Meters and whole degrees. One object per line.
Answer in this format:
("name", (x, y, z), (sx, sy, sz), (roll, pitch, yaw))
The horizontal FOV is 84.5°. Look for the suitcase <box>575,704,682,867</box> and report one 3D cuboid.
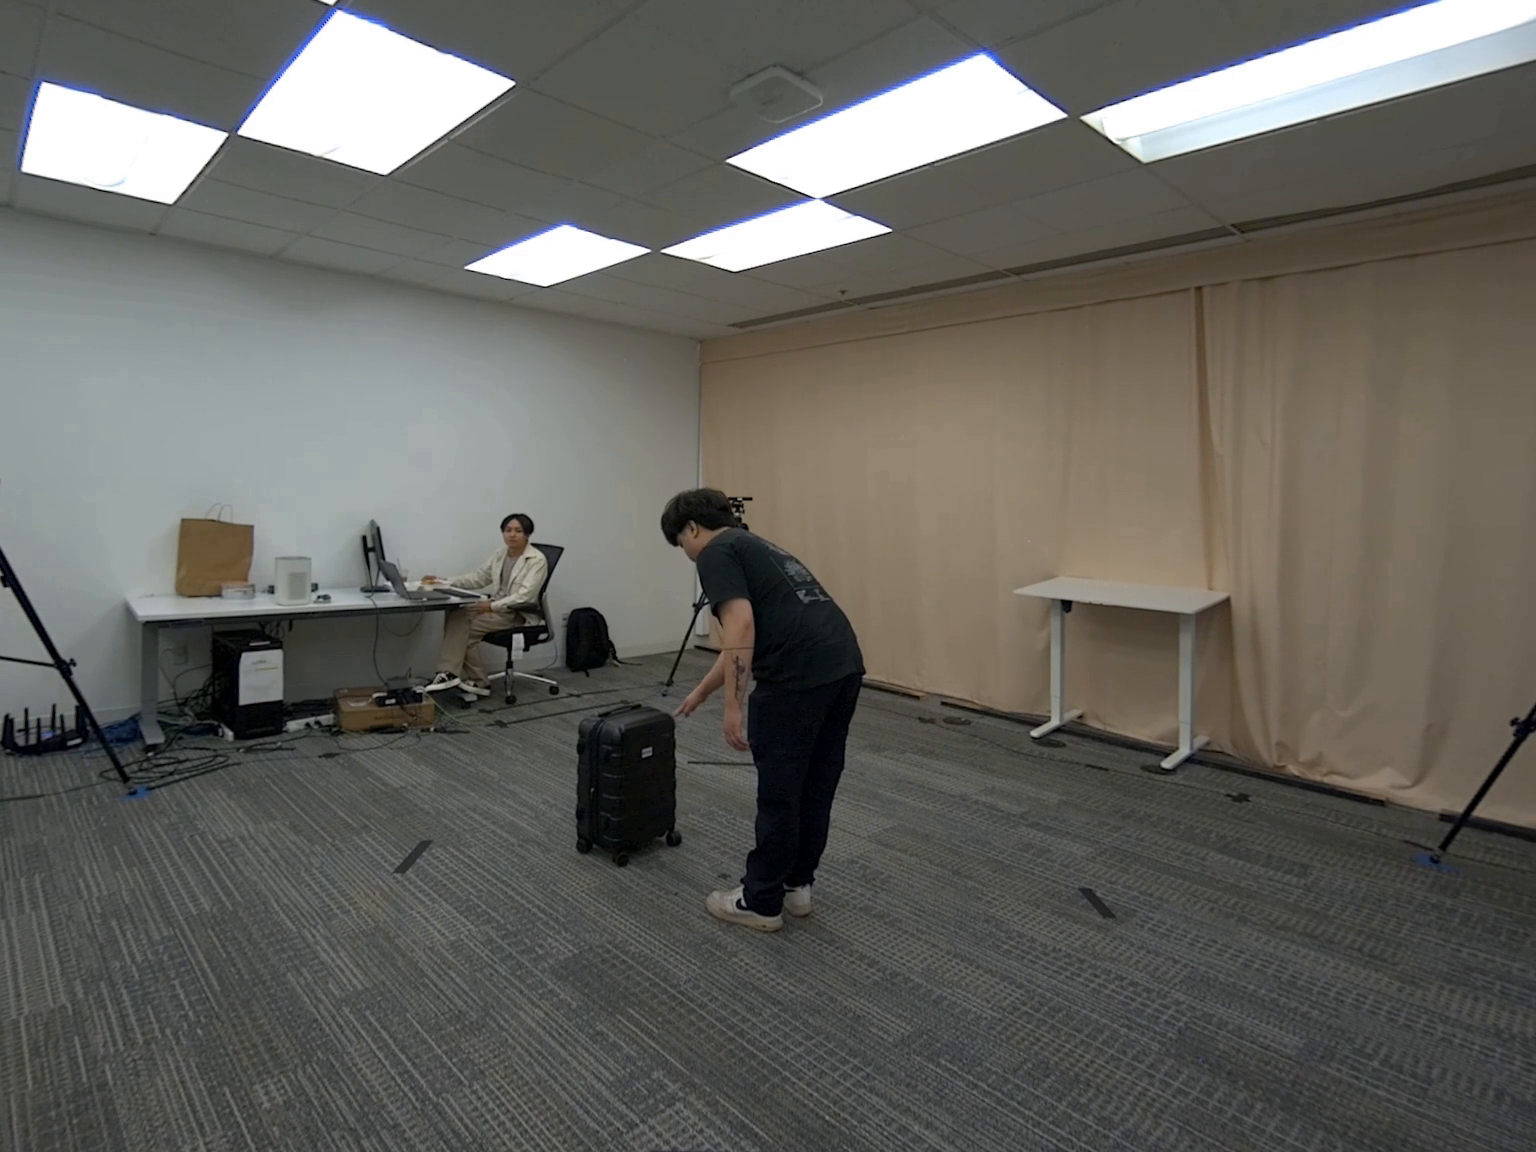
("suitcase", (-0.562, 0.802, 3.332), (0.254, 0.548, 0.367), (2, 3, 38))
